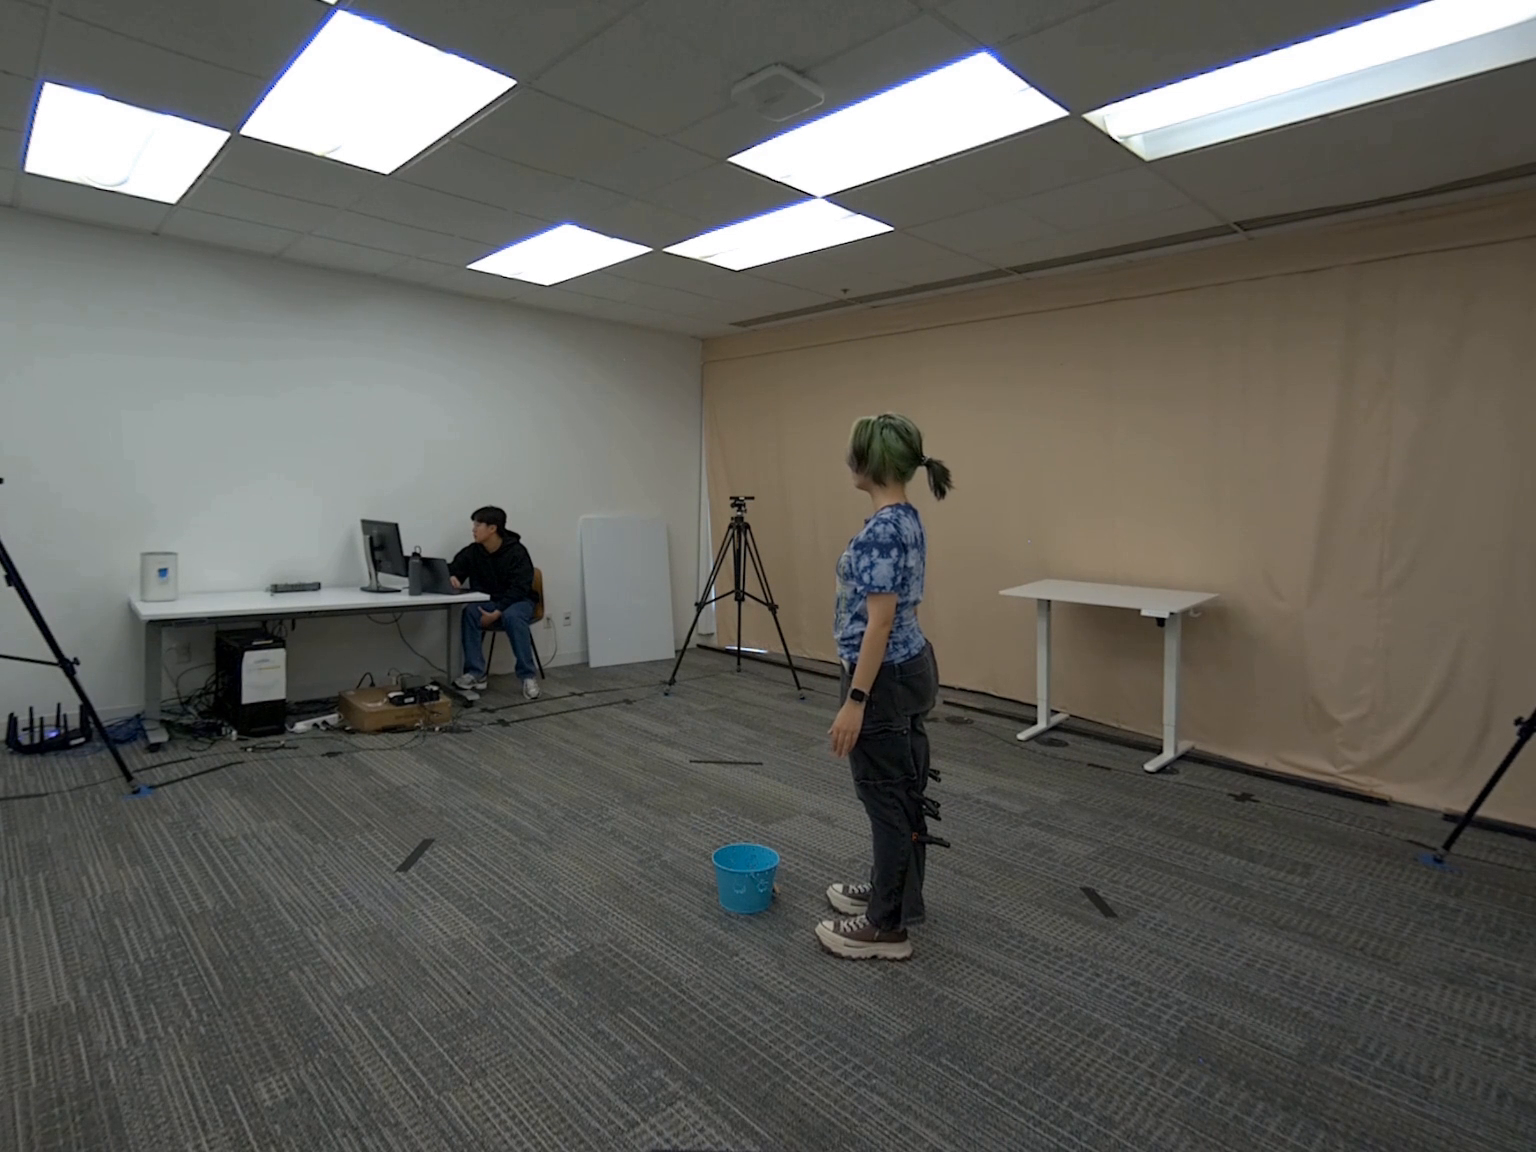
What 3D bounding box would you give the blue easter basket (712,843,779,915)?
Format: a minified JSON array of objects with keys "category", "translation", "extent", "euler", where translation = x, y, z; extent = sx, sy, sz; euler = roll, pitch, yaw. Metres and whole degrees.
[{"category":"blue easter basket","translation":[-0.080,1.044,2.905],"extent":[0.243,0.155,0.244],"euler":[2,4,-1]}]
